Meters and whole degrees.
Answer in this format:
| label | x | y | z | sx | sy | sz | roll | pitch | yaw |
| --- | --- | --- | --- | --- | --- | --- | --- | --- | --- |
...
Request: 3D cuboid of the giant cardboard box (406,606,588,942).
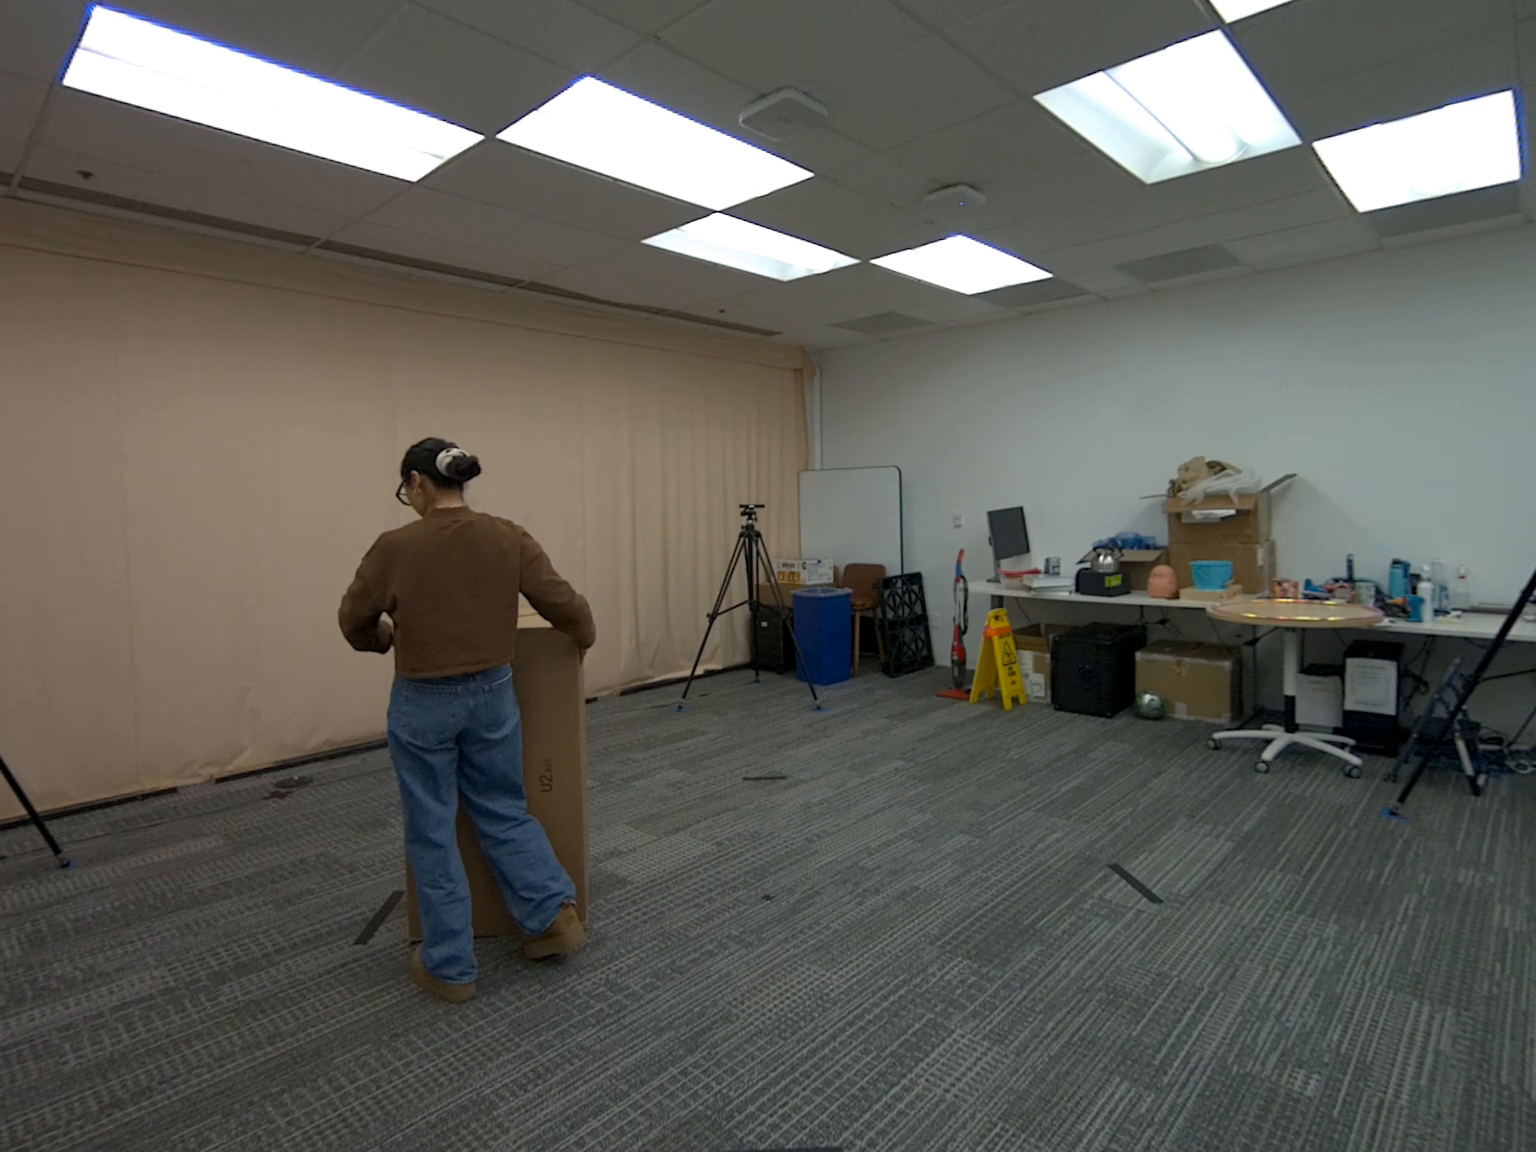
| label | x | y | z | sx | sy | sz | roll | pitch | yaw |
| --- | --- | --- | --- | --- | --- | --- | --- | --- | --- |
| giant cardboard box | -0.928 | 0.654 | 2.914 | 0.572 | 1.022 | 0.432 | -3 | 6 | -9 |
